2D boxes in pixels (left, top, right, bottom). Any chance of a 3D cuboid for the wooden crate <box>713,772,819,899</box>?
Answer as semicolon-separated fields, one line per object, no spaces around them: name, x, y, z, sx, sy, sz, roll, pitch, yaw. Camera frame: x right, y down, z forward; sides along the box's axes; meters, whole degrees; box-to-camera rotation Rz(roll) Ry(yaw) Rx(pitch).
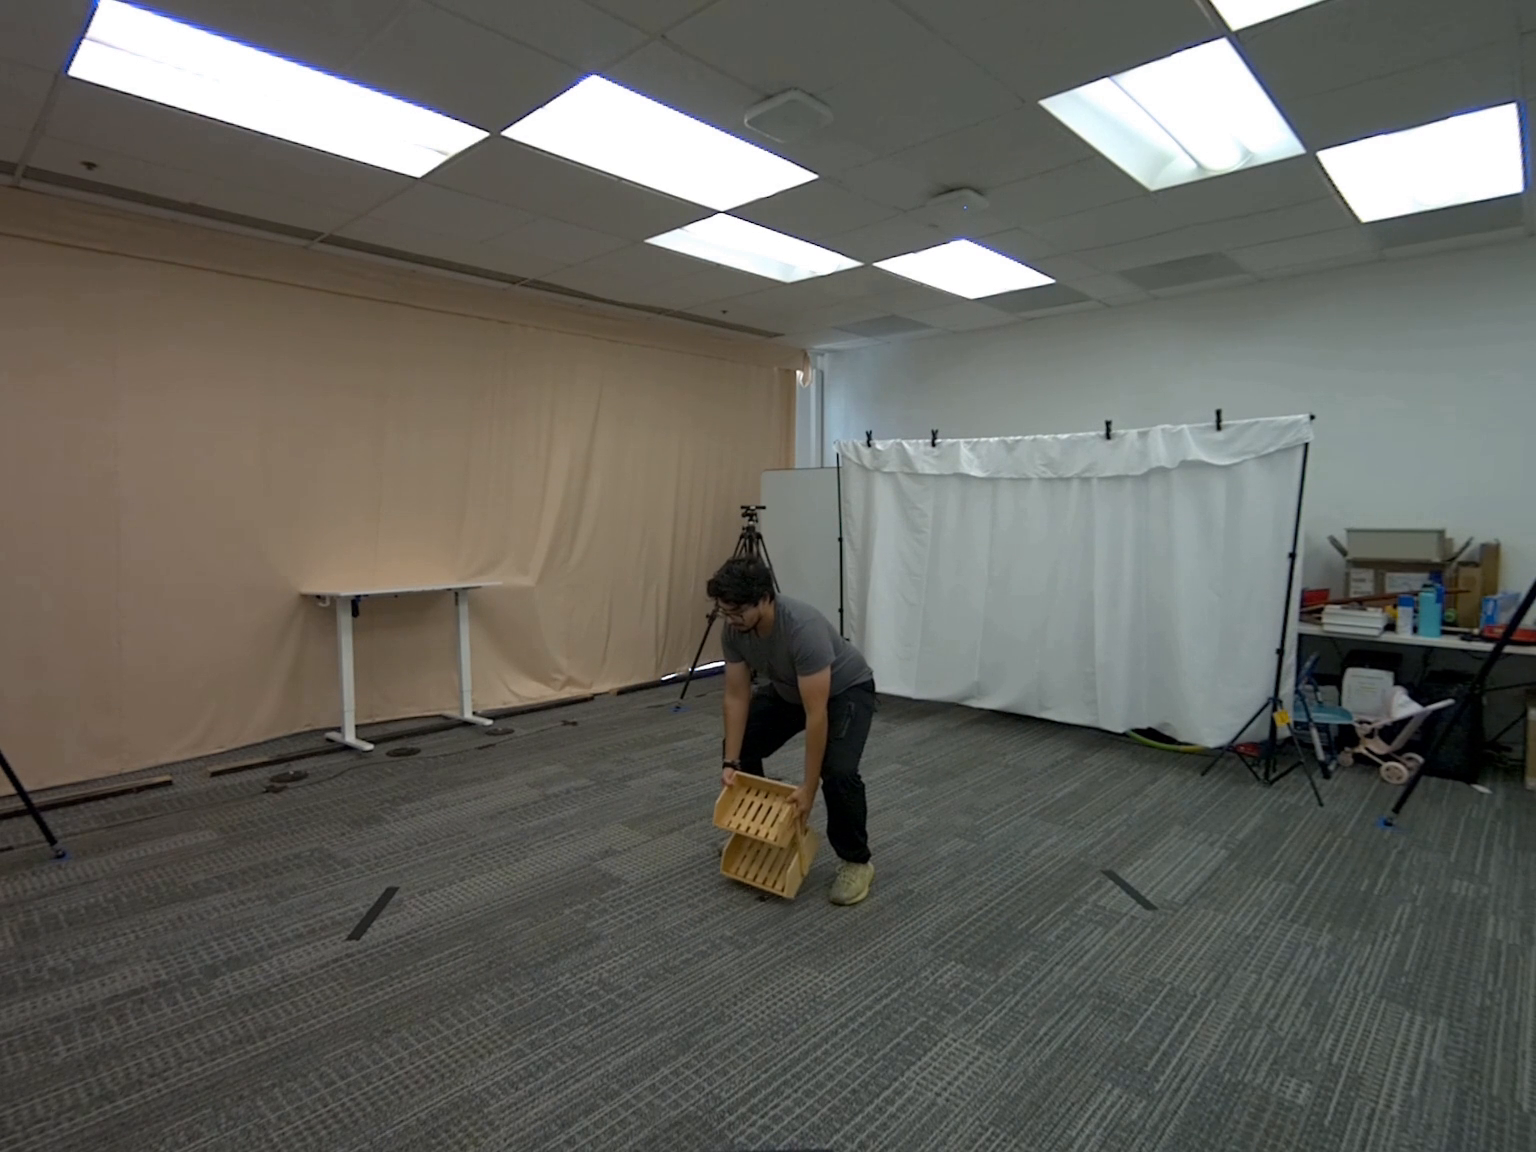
wooden crate;-0.025;0.934;3.017;0.335;0.266;0.301;2;42;38
